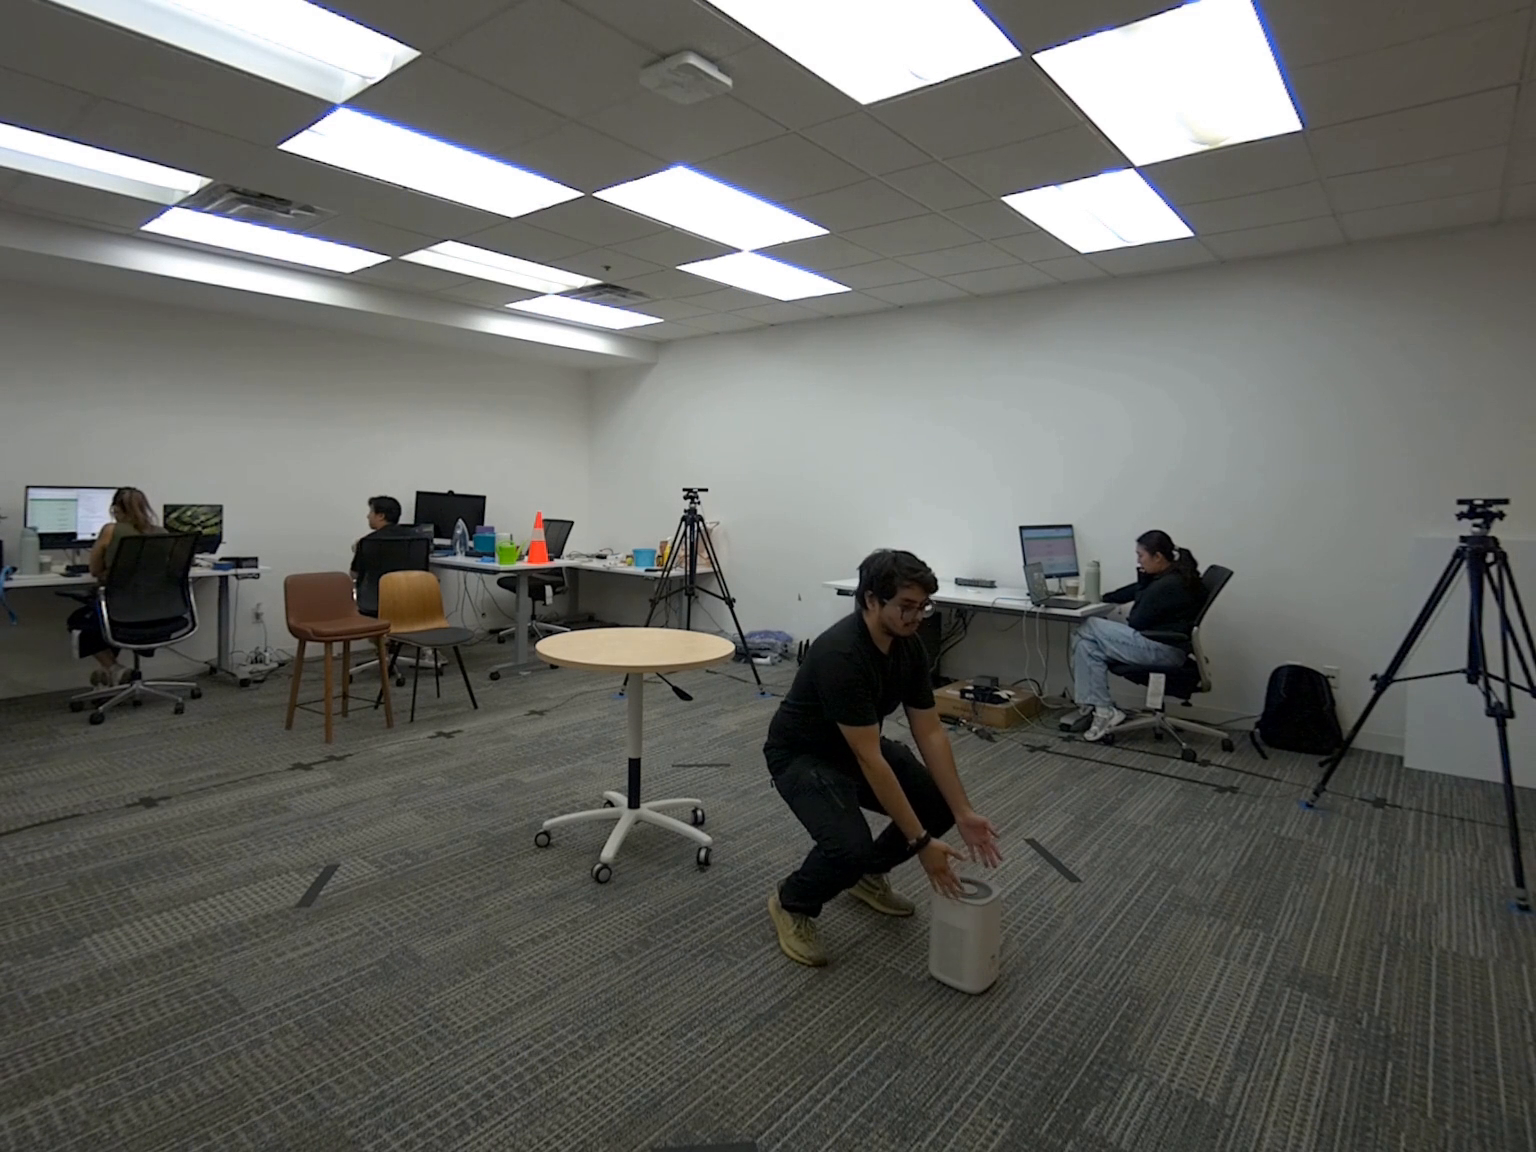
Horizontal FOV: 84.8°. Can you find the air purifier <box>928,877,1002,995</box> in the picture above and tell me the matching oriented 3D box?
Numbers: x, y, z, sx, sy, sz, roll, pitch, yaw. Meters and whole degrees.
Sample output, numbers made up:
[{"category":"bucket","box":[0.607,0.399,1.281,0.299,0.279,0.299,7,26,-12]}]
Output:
[{"category":"air purifier","box":[0.567,1.020,2.444,0.177,0.265,0.166,5,3,39]}]
